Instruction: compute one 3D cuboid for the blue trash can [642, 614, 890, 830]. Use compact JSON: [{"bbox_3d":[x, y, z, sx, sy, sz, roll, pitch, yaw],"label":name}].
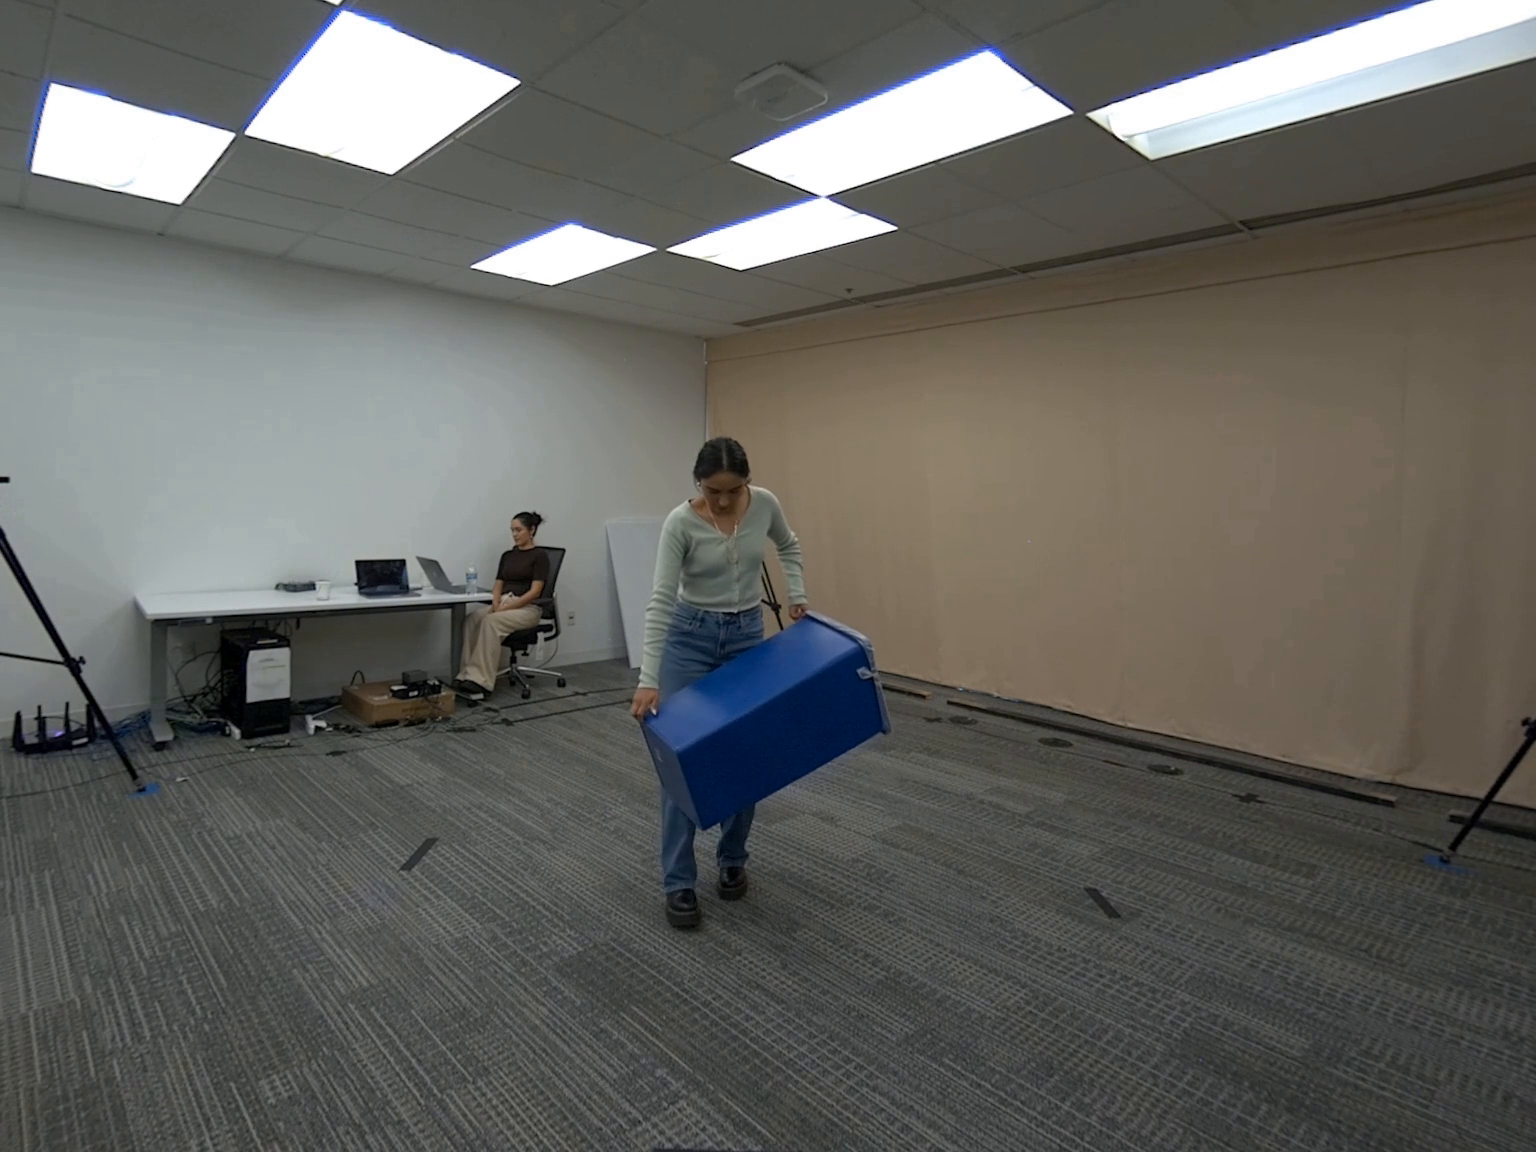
[{"bbox_3d":[-0.019,0.458,2.728,0.707,0.371,0.384,-26,23,-23],"label":"blue trash can"}]
